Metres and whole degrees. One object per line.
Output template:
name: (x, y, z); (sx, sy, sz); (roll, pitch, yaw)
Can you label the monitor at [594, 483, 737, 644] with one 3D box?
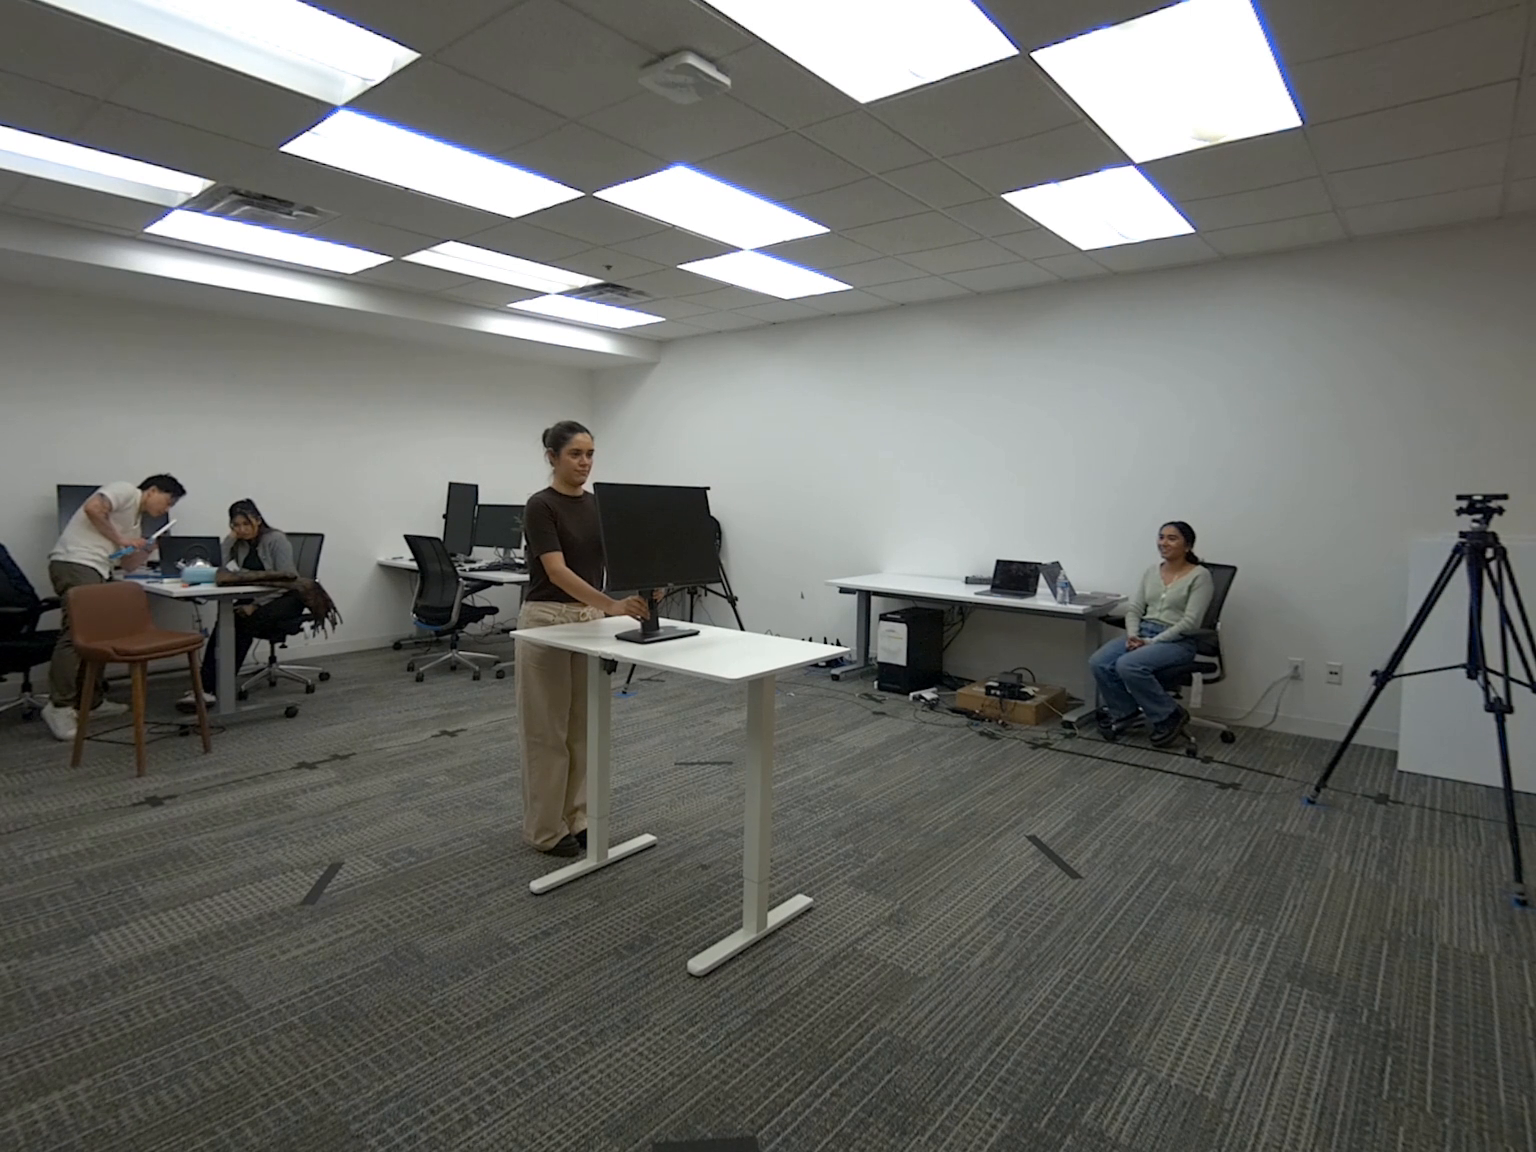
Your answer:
monitor: (-0.387, -0.052, 2.874); (0.181, 0.514, 0.514); (8, 6, 37)
